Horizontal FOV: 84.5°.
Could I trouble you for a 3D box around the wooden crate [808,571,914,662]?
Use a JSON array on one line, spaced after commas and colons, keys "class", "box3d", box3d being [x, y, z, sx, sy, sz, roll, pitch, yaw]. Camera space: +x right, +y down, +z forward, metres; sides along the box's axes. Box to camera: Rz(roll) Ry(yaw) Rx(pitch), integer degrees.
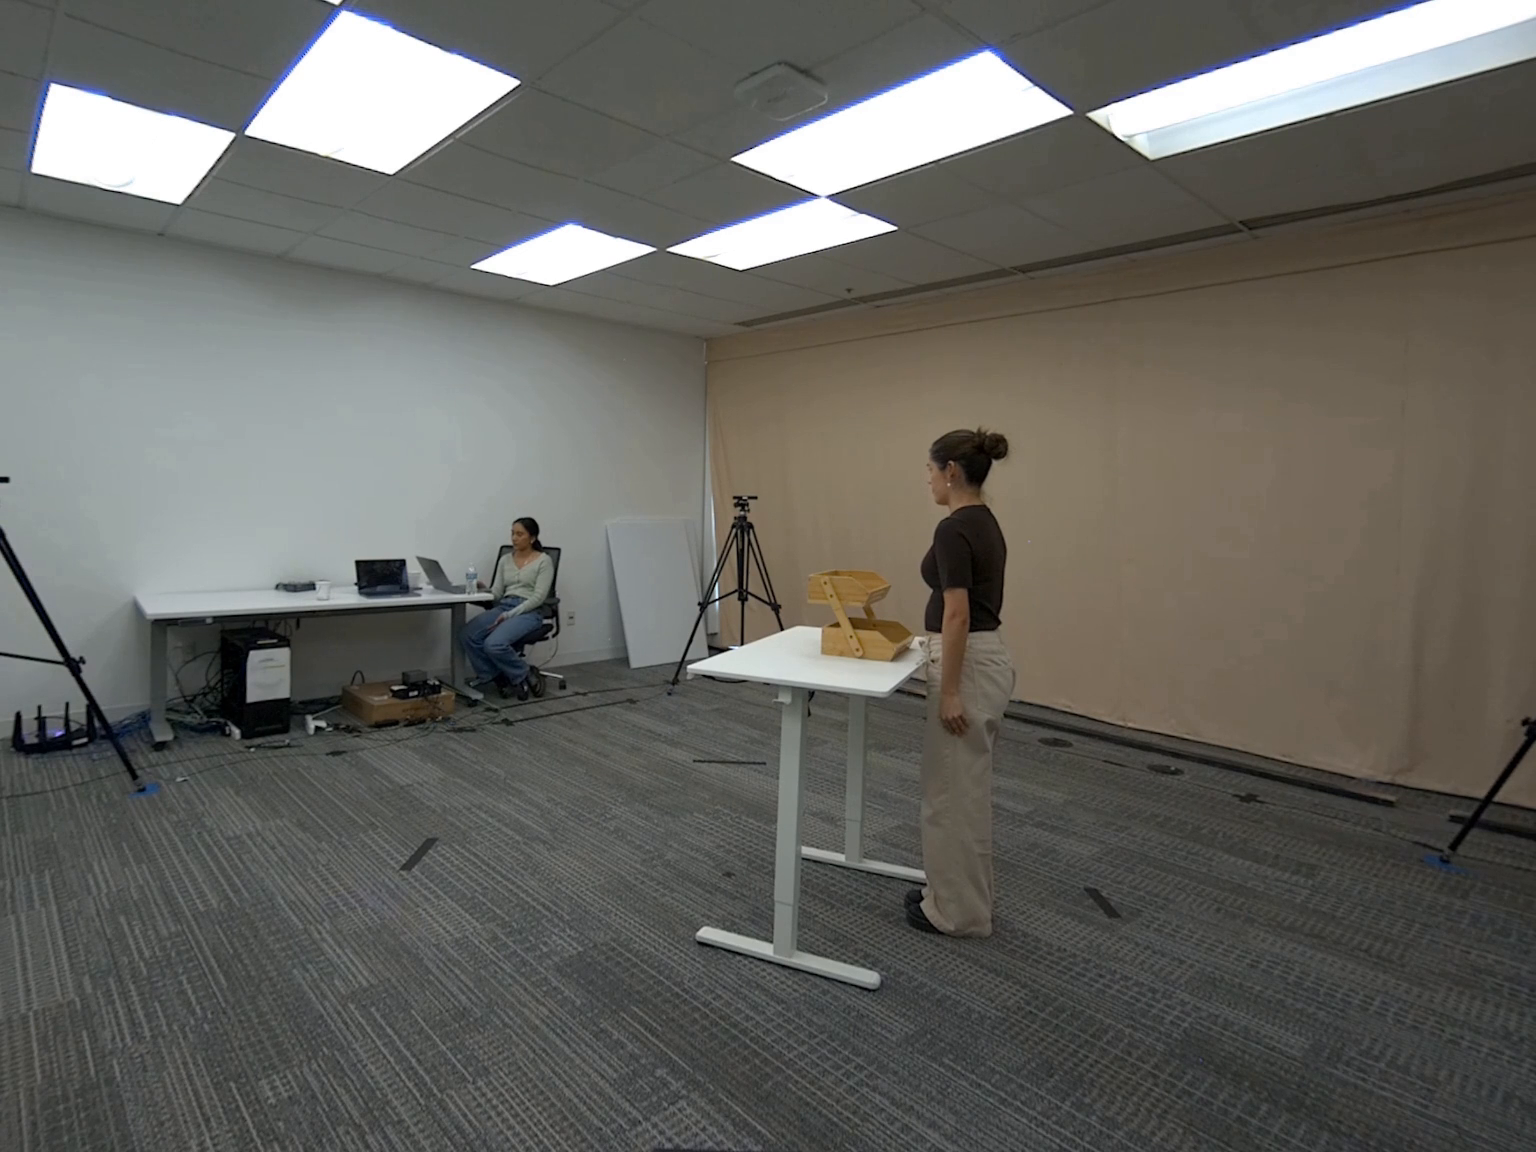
[{"class": "wooden crate", "box3d": [0.321, 0.123, 2.860, 0.307, 0.273, 0.319, 3, 4, 22]}]
